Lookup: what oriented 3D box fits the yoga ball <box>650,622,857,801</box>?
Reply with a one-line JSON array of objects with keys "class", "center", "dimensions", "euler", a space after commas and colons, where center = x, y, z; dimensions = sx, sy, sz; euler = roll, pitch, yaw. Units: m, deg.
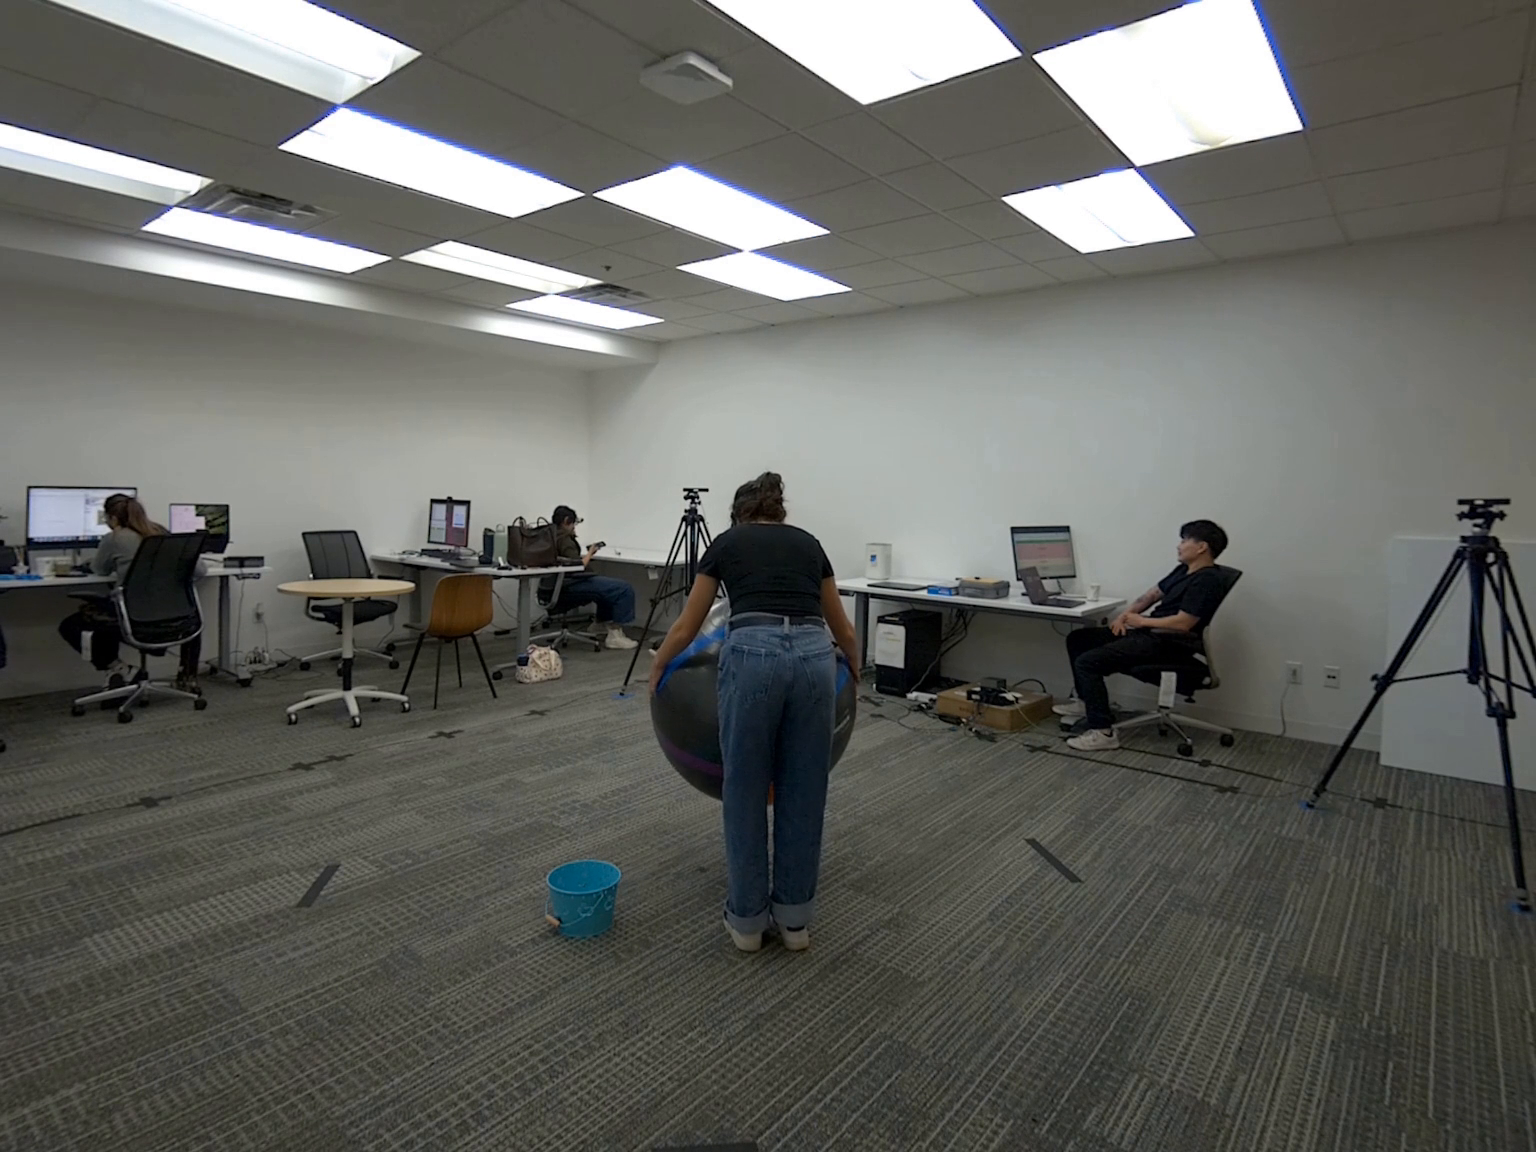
[{"class": "yoga ball", "center": [-0.054, 0.482, 3.132], "dimensions": [0.757, 0.755, 0.762], "euler": [1, 4, -2]}]
